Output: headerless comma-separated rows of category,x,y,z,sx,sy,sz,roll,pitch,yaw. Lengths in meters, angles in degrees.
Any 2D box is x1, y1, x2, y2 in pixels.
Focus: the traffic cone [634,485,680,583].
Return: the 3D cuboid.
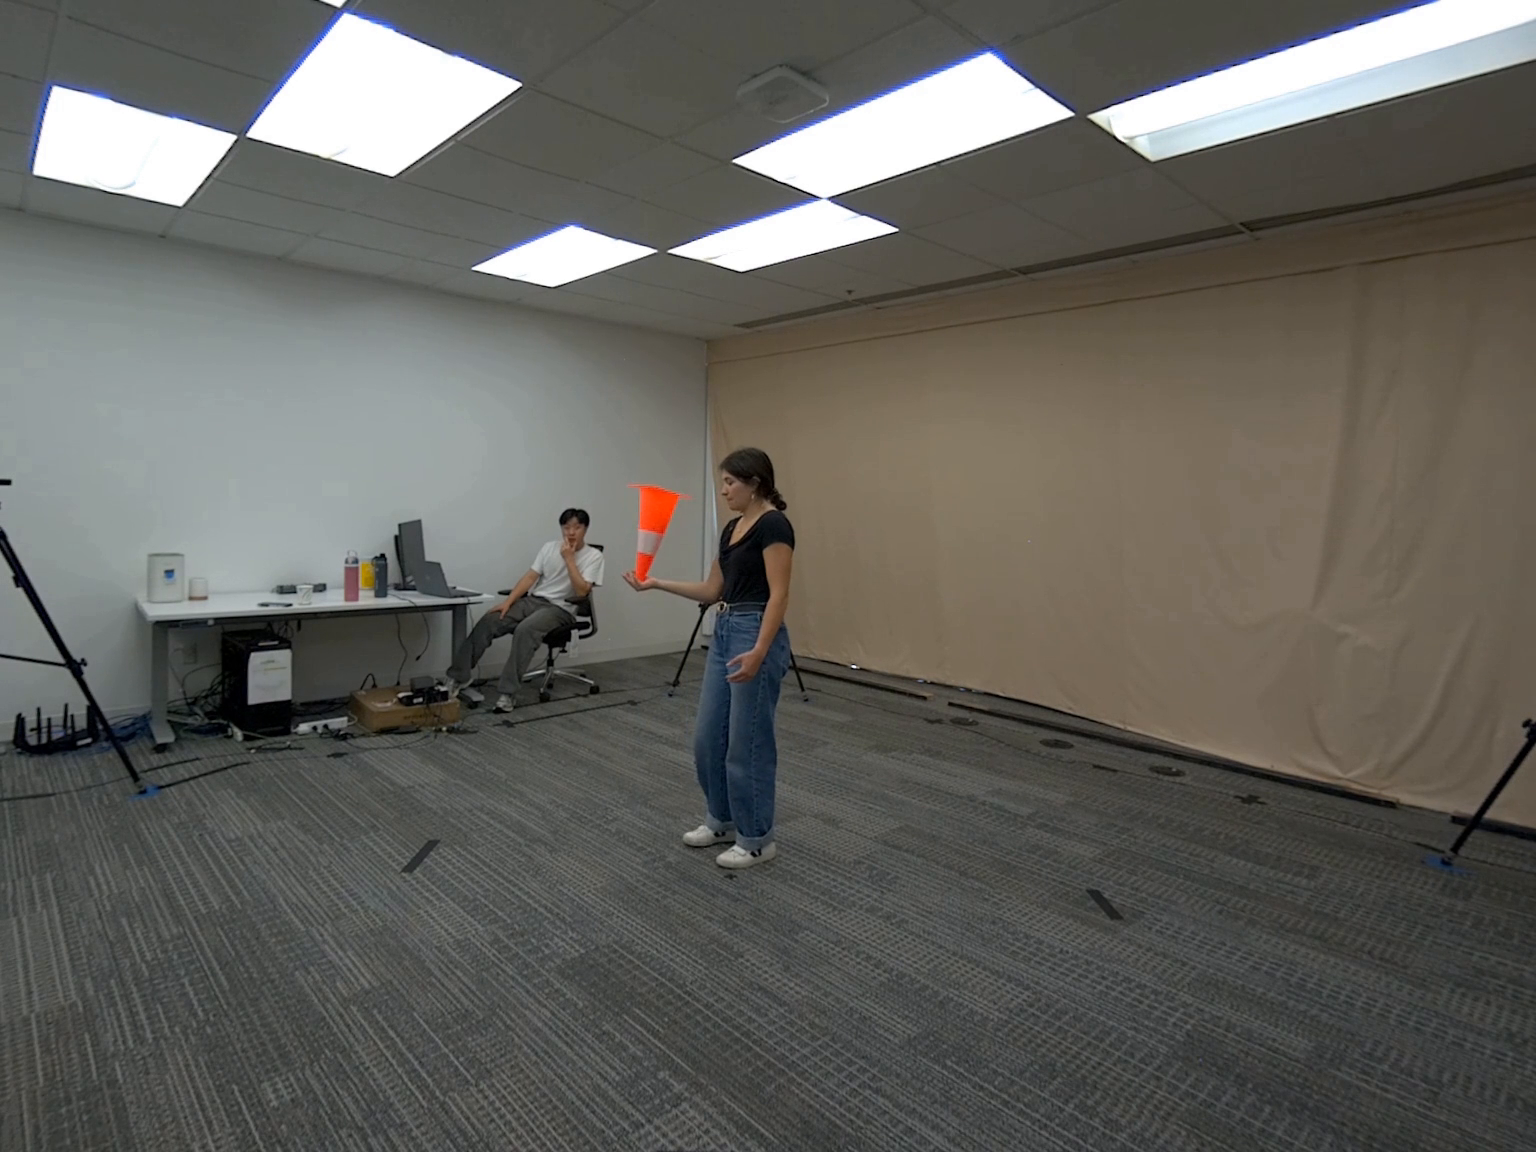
traffic cone,-0.458,-0.147,3.346,0.199,0.384,0.209,13,-1,-28
